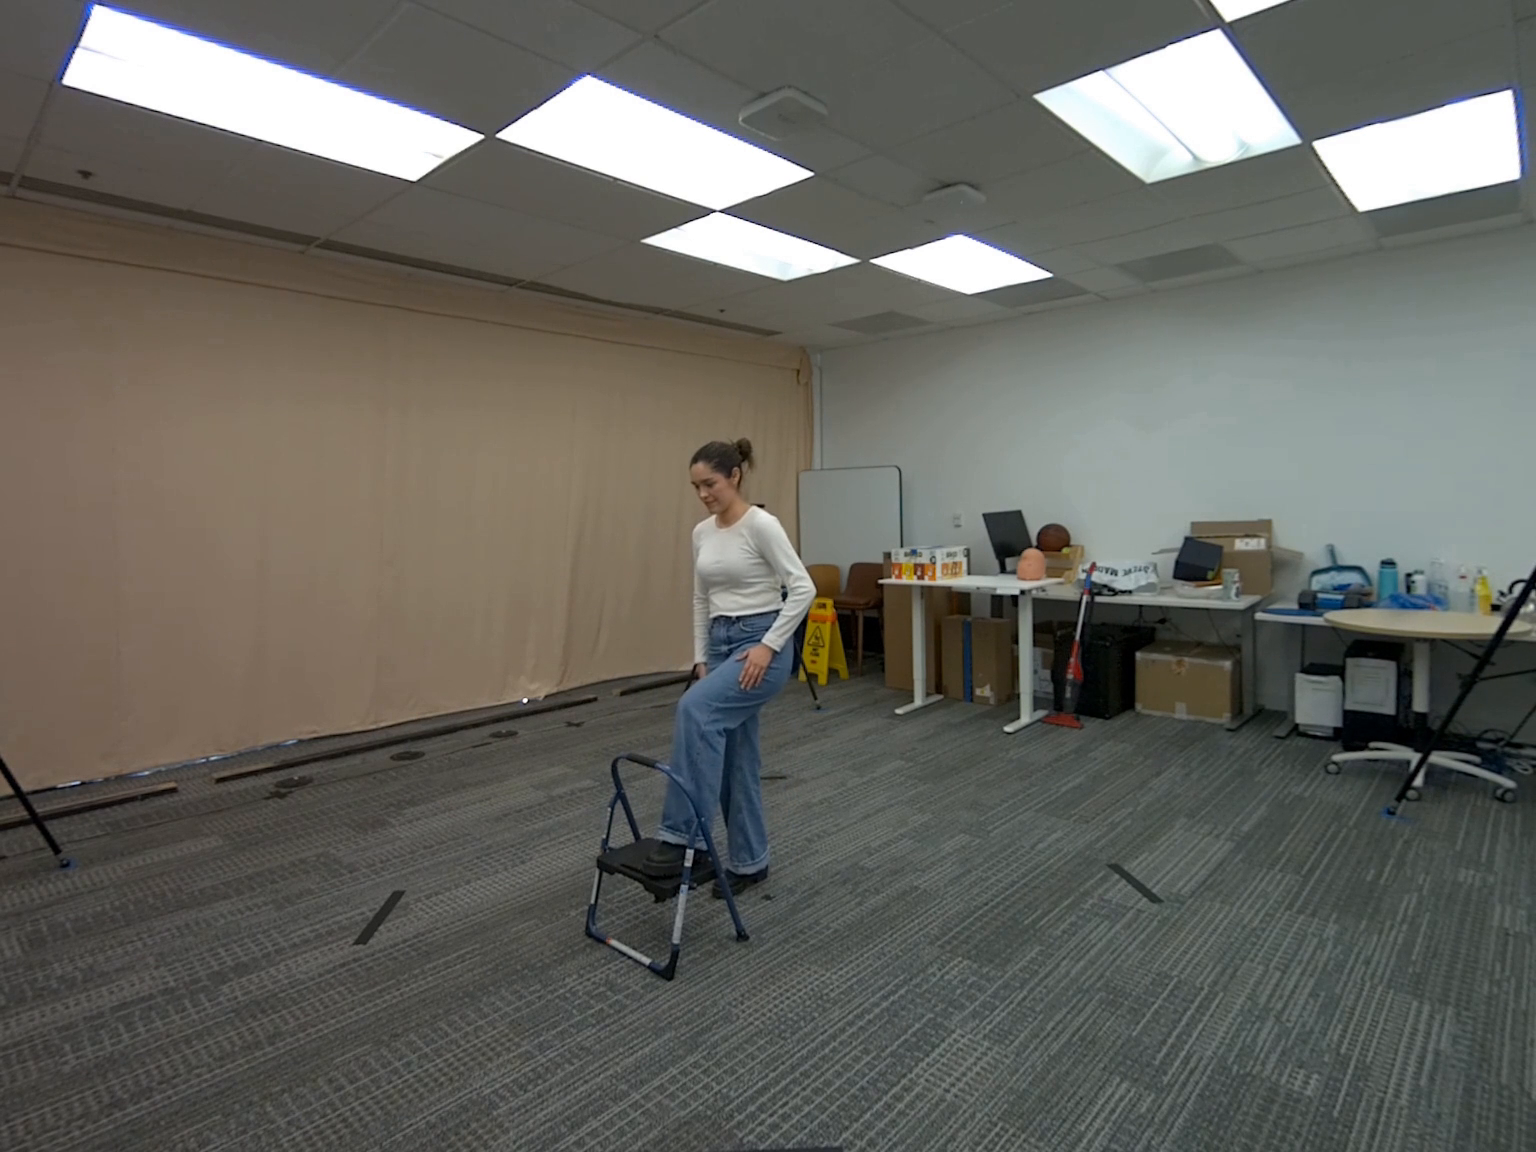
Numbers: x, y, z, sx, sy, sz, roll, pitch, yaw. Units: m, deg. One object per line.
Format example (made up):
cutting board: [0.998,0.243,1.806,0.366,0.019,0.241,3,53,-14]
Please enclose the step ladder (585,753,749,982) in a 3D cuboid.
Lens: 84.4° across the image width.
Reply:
step ladder: [-0.338,0.867,2.714,0.445,0.605,0.339,2,4,42]
